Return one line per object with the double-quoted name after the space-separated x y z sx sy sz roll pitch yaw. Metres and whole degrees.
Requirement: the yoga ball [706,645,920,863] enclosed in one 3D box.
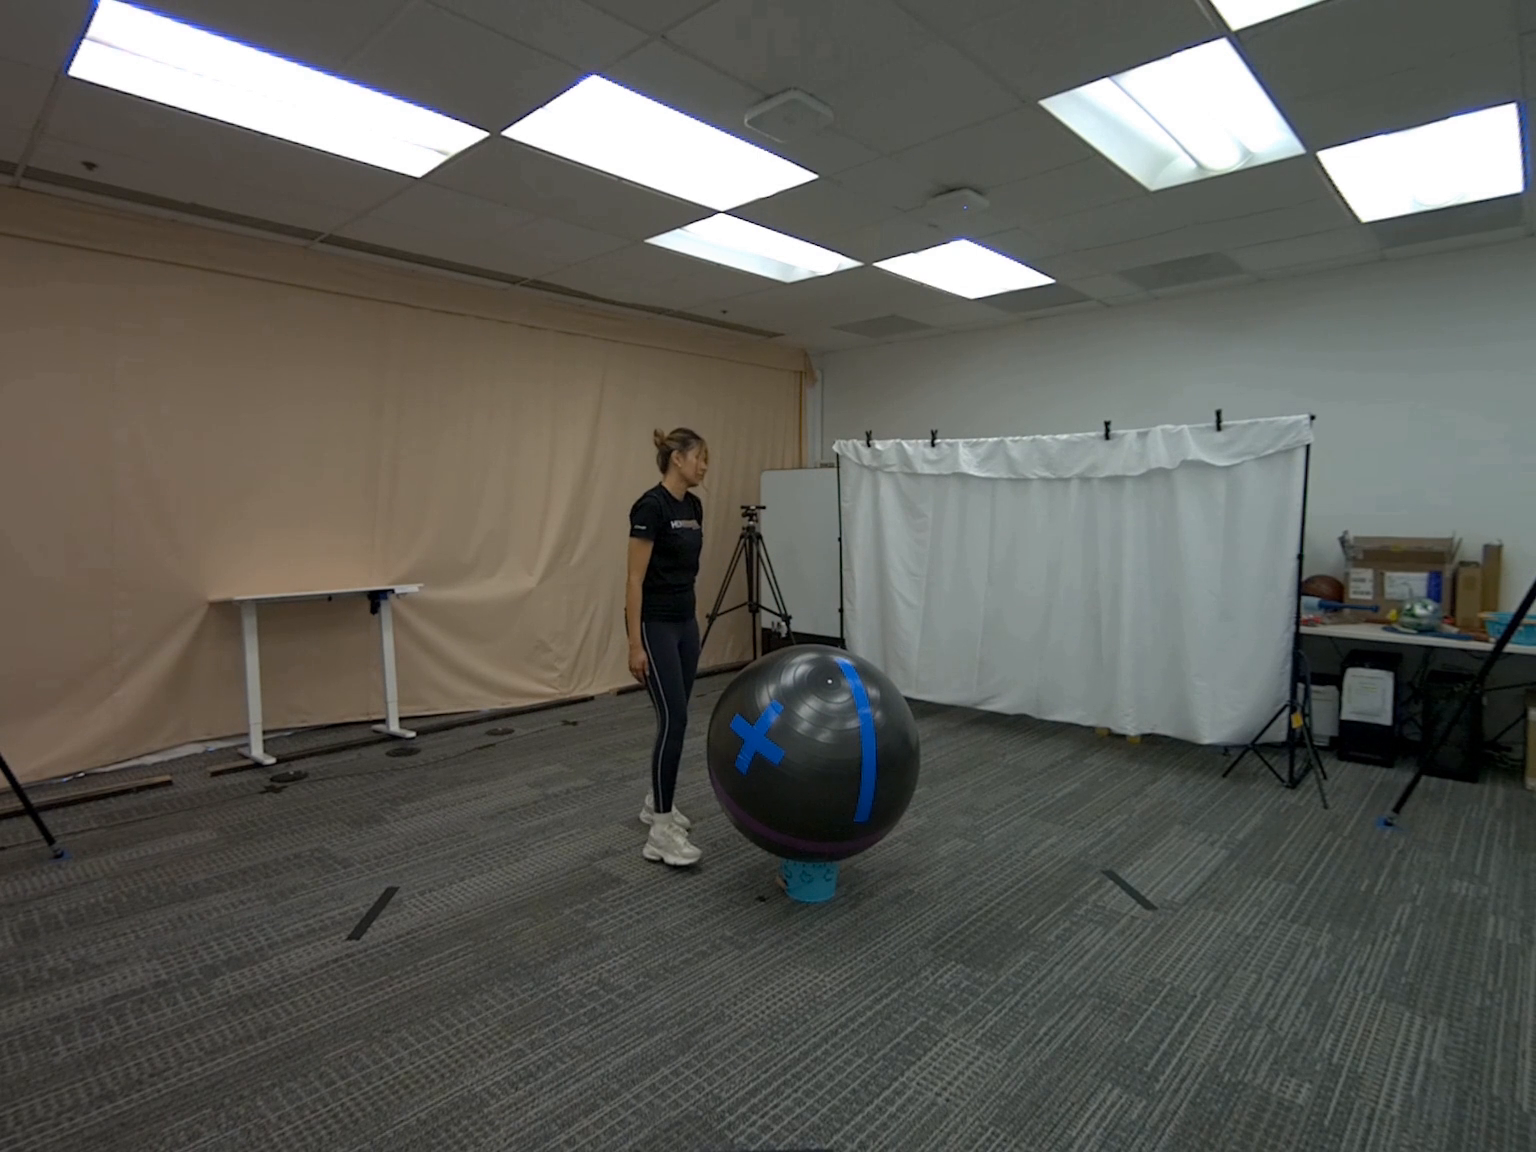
0.164 0.629 3.015 0.757 0.756 0.760 0 4 -2 "yoga ball"
